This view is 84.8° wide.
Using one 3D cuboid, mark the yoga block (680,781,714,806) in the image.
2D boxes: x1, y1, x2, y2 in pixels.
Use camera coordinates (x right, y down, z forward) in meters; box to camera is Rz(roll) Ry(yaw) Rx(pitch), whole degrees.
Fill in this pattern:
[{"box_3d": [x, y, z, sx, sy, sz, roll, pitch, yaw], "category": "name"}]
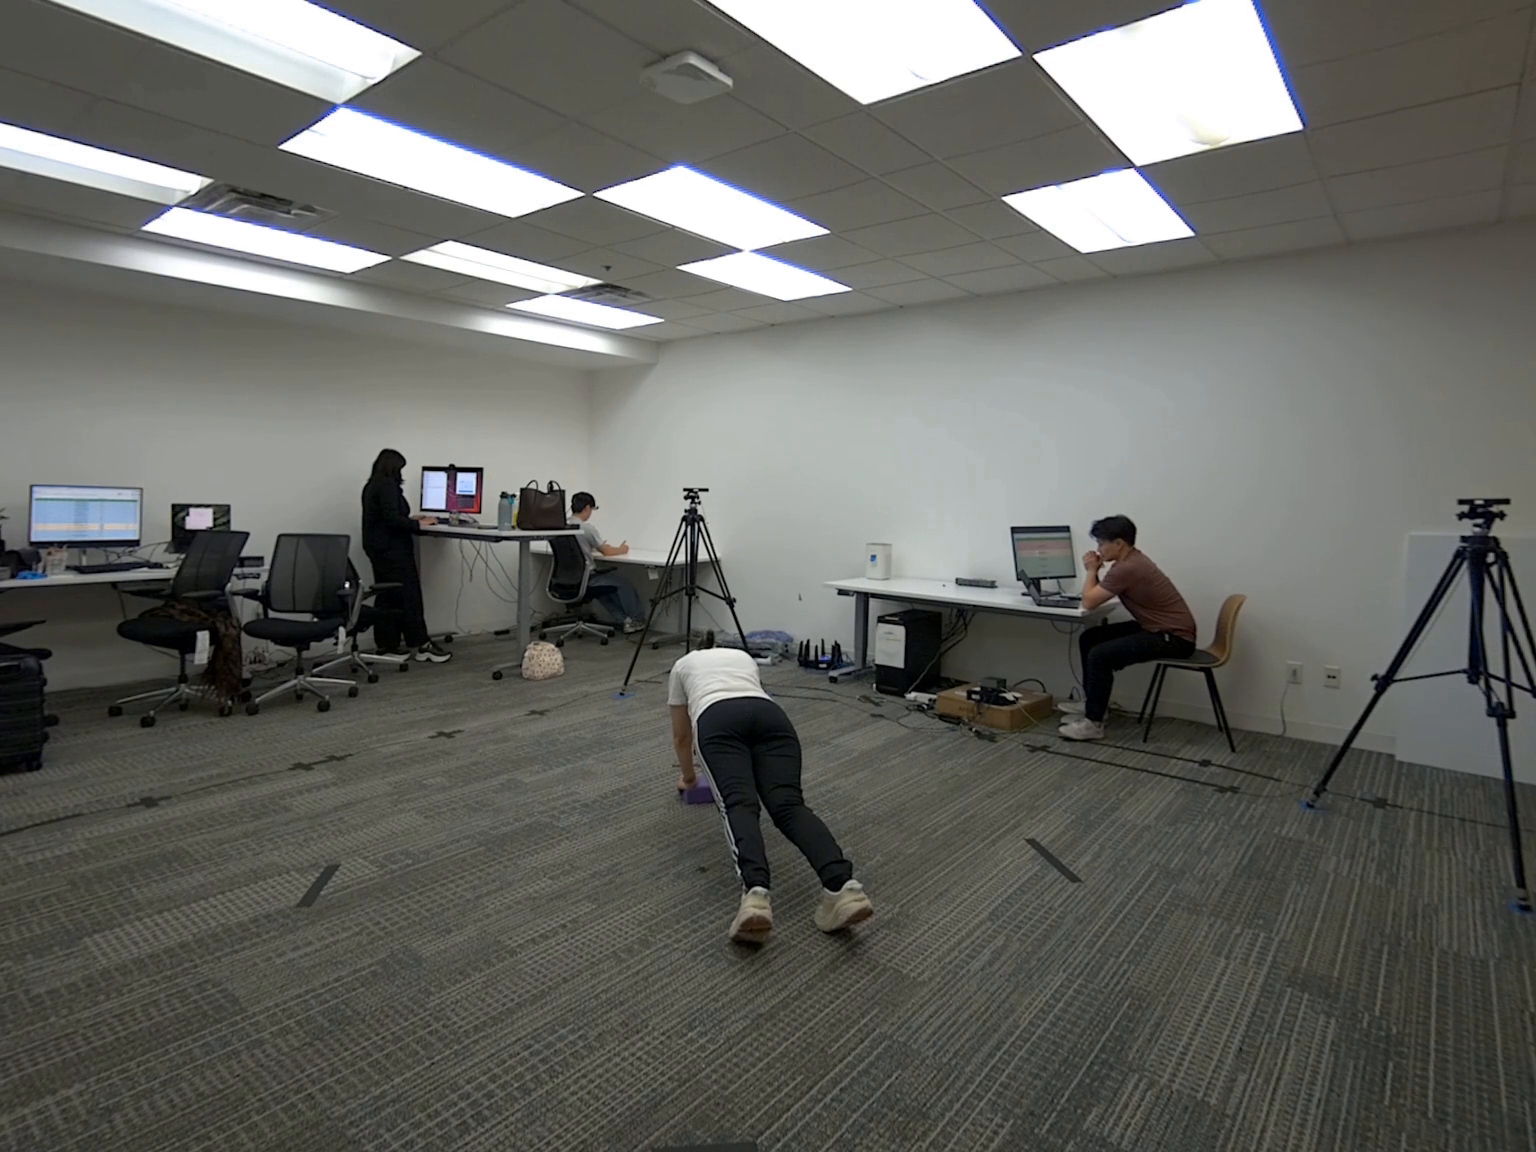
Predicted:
[{"box_3d": [-0.275, 0.959, 3.839, 0.226, 0.076, 0.152, -2, 6, -15], "category": "yoga block"}]
